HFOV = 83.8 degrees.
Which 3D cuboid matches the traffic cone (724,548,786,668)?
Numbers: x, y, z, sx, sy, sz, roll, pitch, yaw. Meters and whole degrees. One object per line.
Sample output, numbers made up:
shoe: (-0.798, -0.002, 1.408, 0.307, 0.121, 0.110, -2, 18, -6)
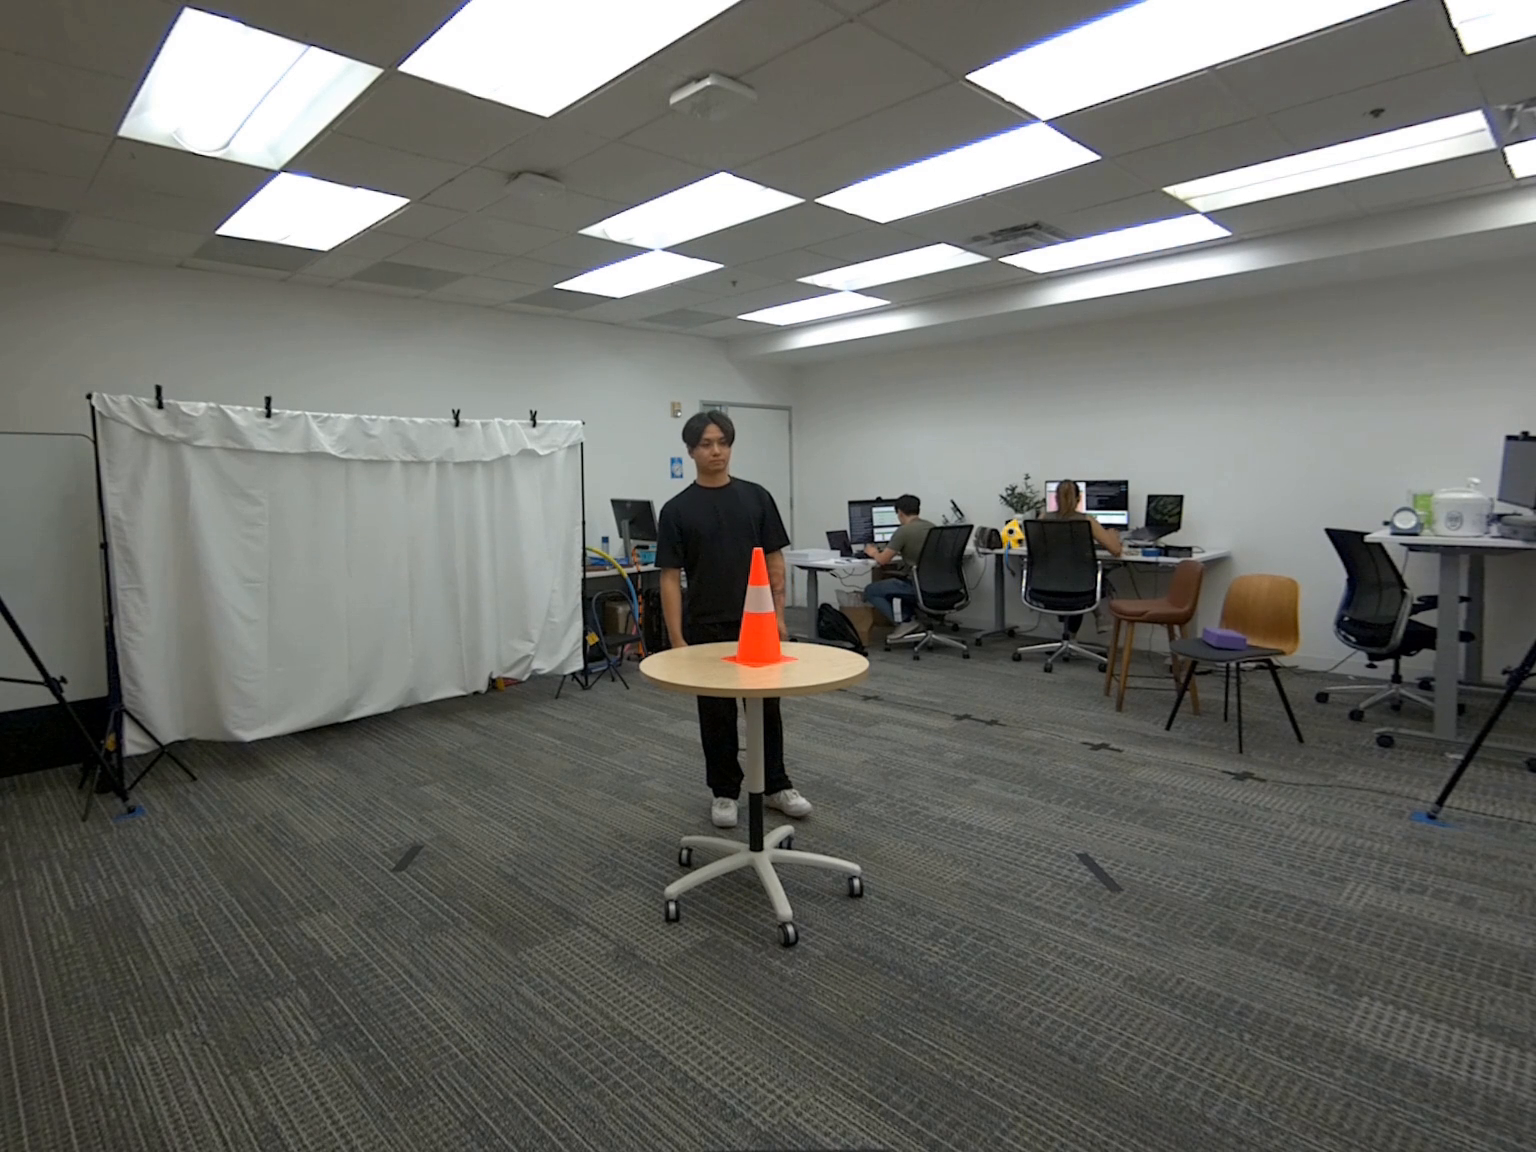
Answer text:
traffic cone: (-0.033, 0.101, 2.906, 0.199, 0.382, 0.209, -5, 5, -43)
